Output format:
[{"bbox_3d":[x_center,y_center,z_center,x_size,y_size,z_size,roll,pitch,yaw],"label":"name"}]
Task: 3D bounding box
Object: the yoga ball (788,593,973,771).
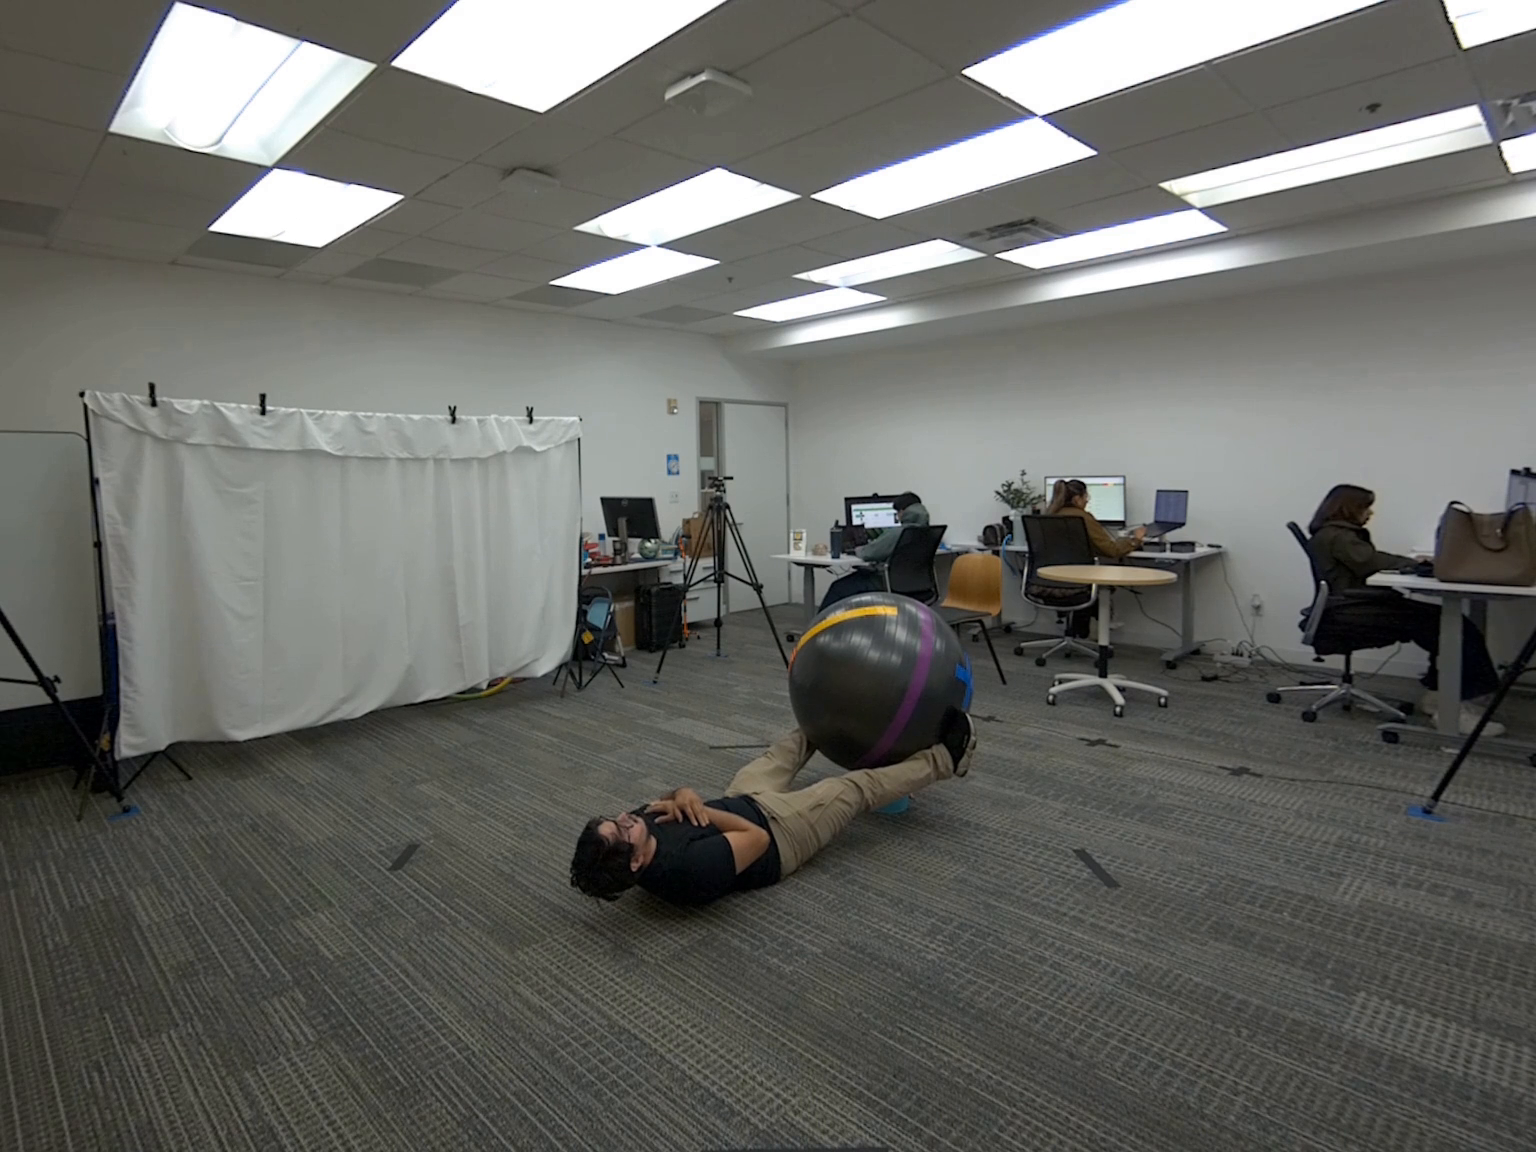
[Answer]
[{"bbox_3d":[0.468,0.454,3.587,0.757,0.755,0.762,-1,5,-2],"label":"yoga ball"}]
